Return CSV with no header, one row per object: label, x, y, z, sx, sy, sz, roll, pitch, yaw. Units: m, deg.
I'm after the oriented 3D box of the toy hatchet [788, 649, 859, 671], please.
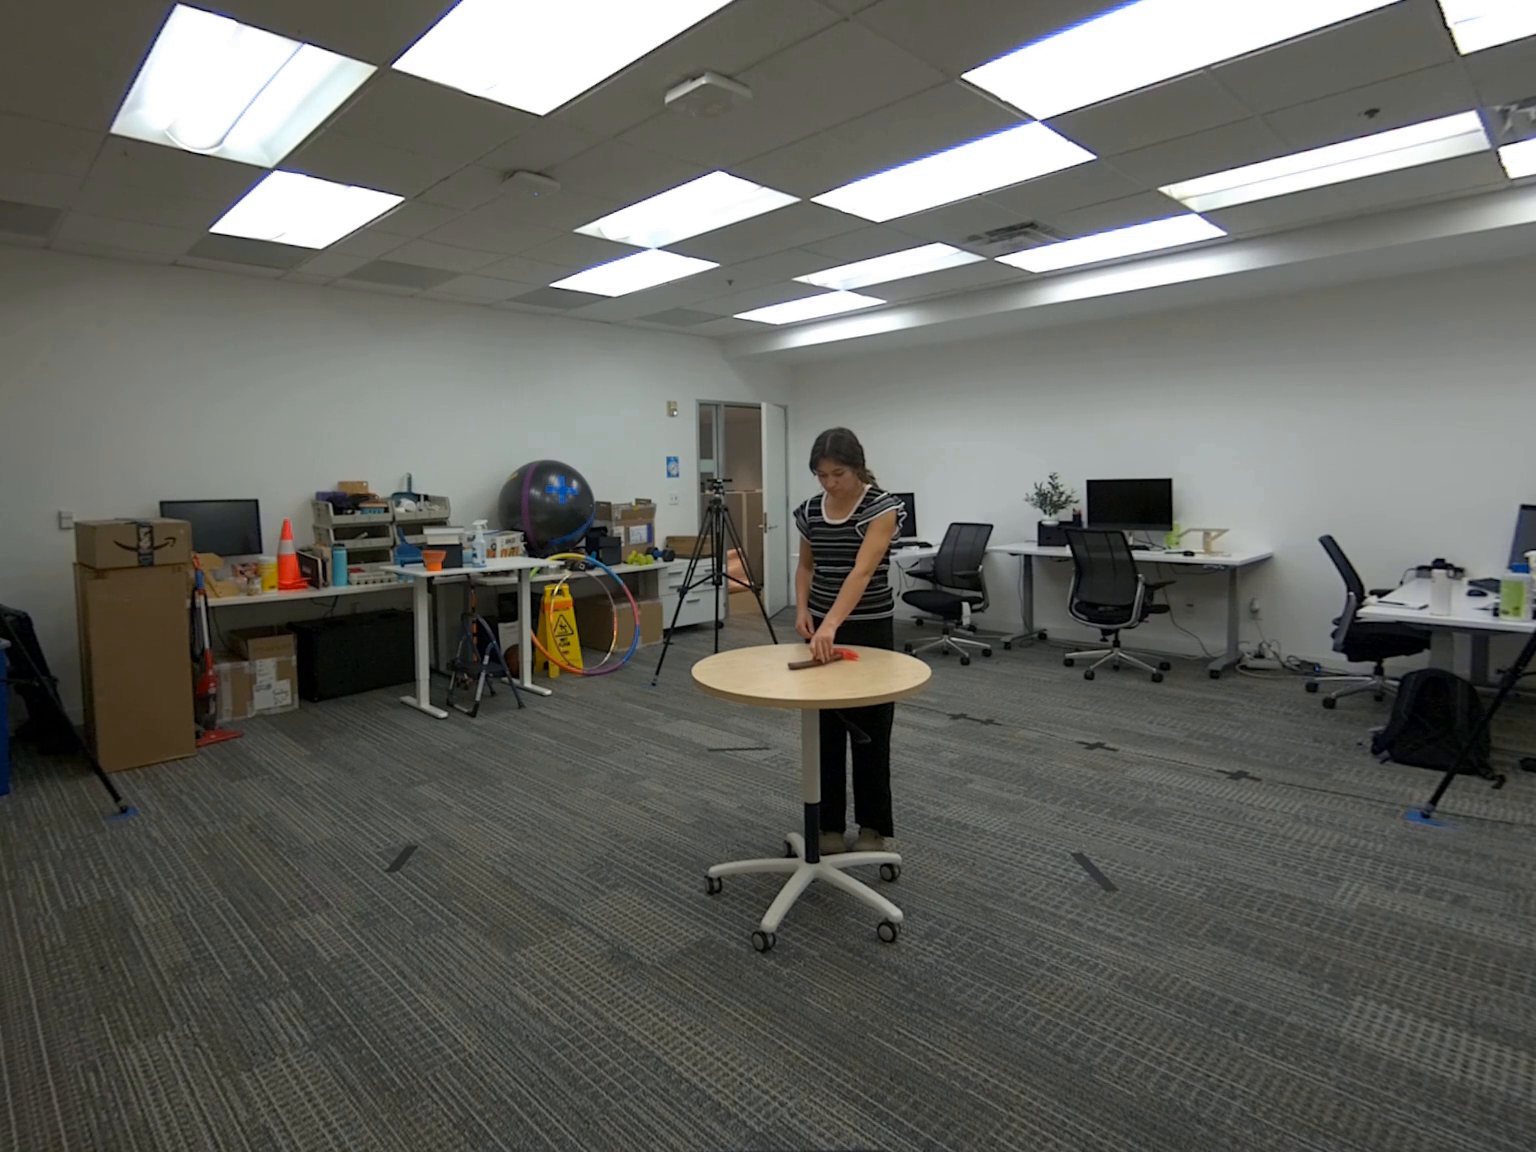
toy hatchet,0.169,0.275,2.837,0.264,0.029,0.135,-6,14,-28
